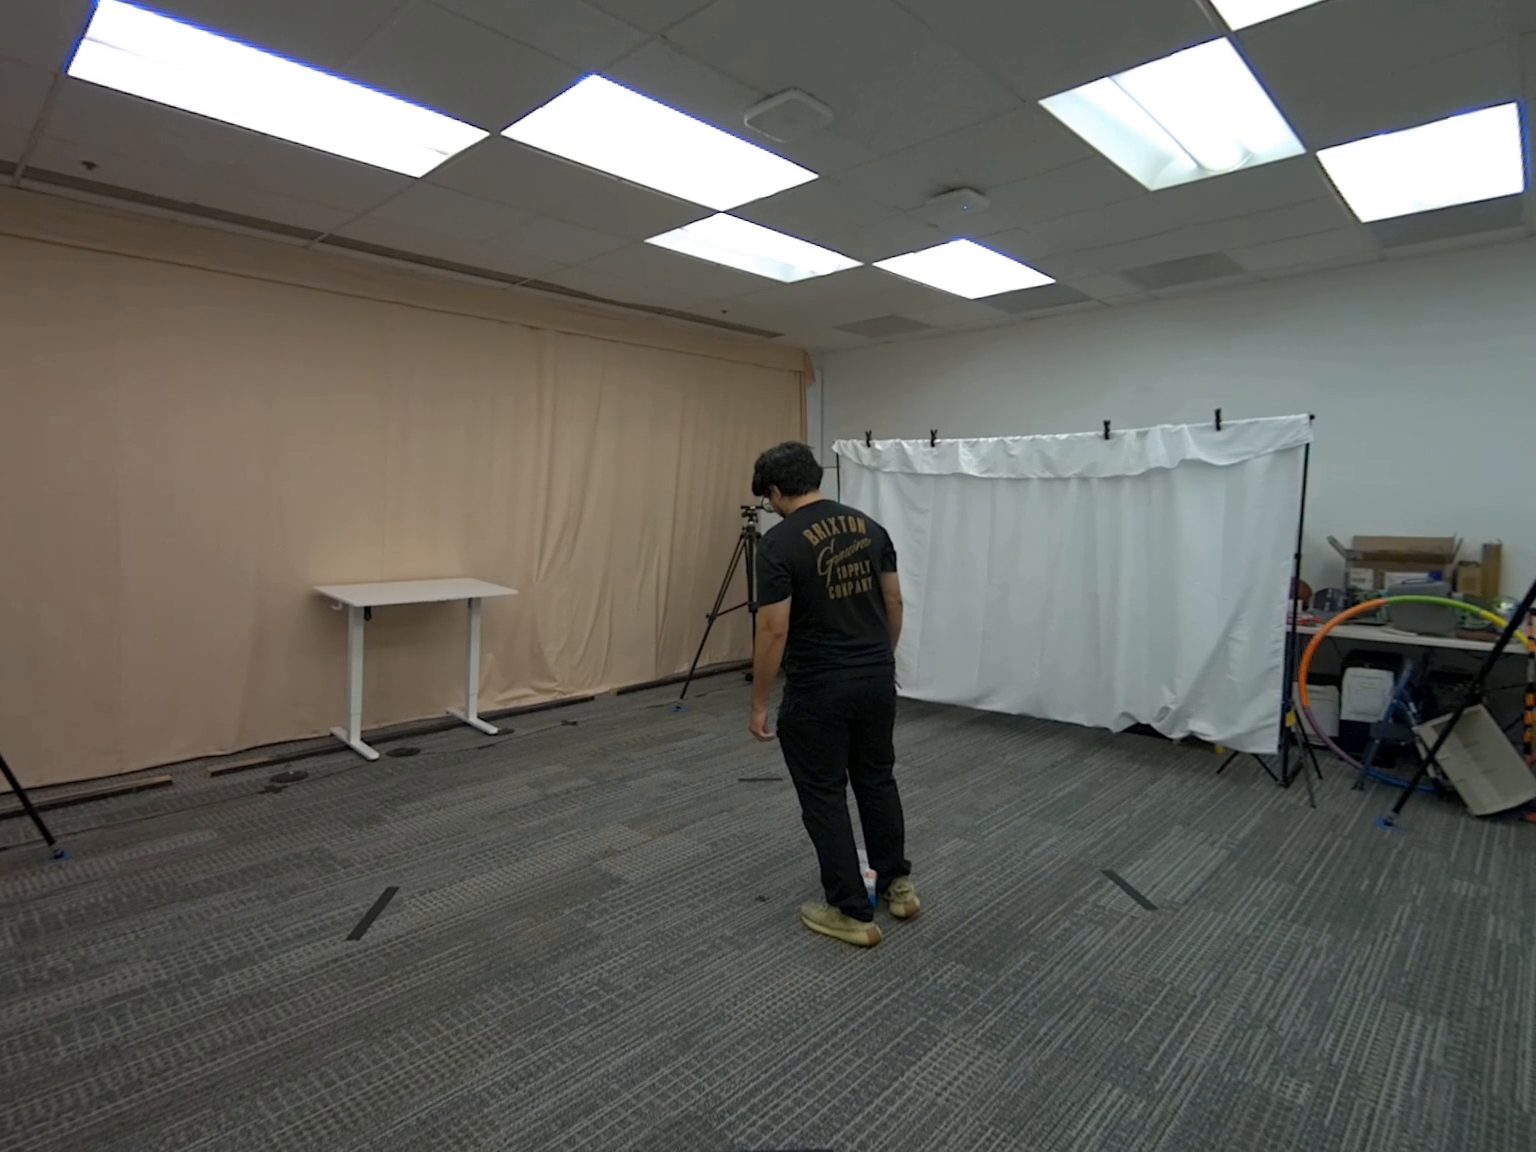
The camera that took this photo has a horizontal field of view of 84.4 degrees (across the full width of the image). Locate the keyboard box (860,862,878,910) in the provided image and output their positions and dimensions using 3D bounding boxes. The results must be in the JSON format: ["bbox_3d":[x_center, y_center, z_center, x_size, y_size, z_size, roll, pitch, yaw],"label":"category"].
[{"bbox_3d":[0.322,1.104,3.109,0.178,0.059,0.433,1,5,9],"label":"keyboard box"}]
